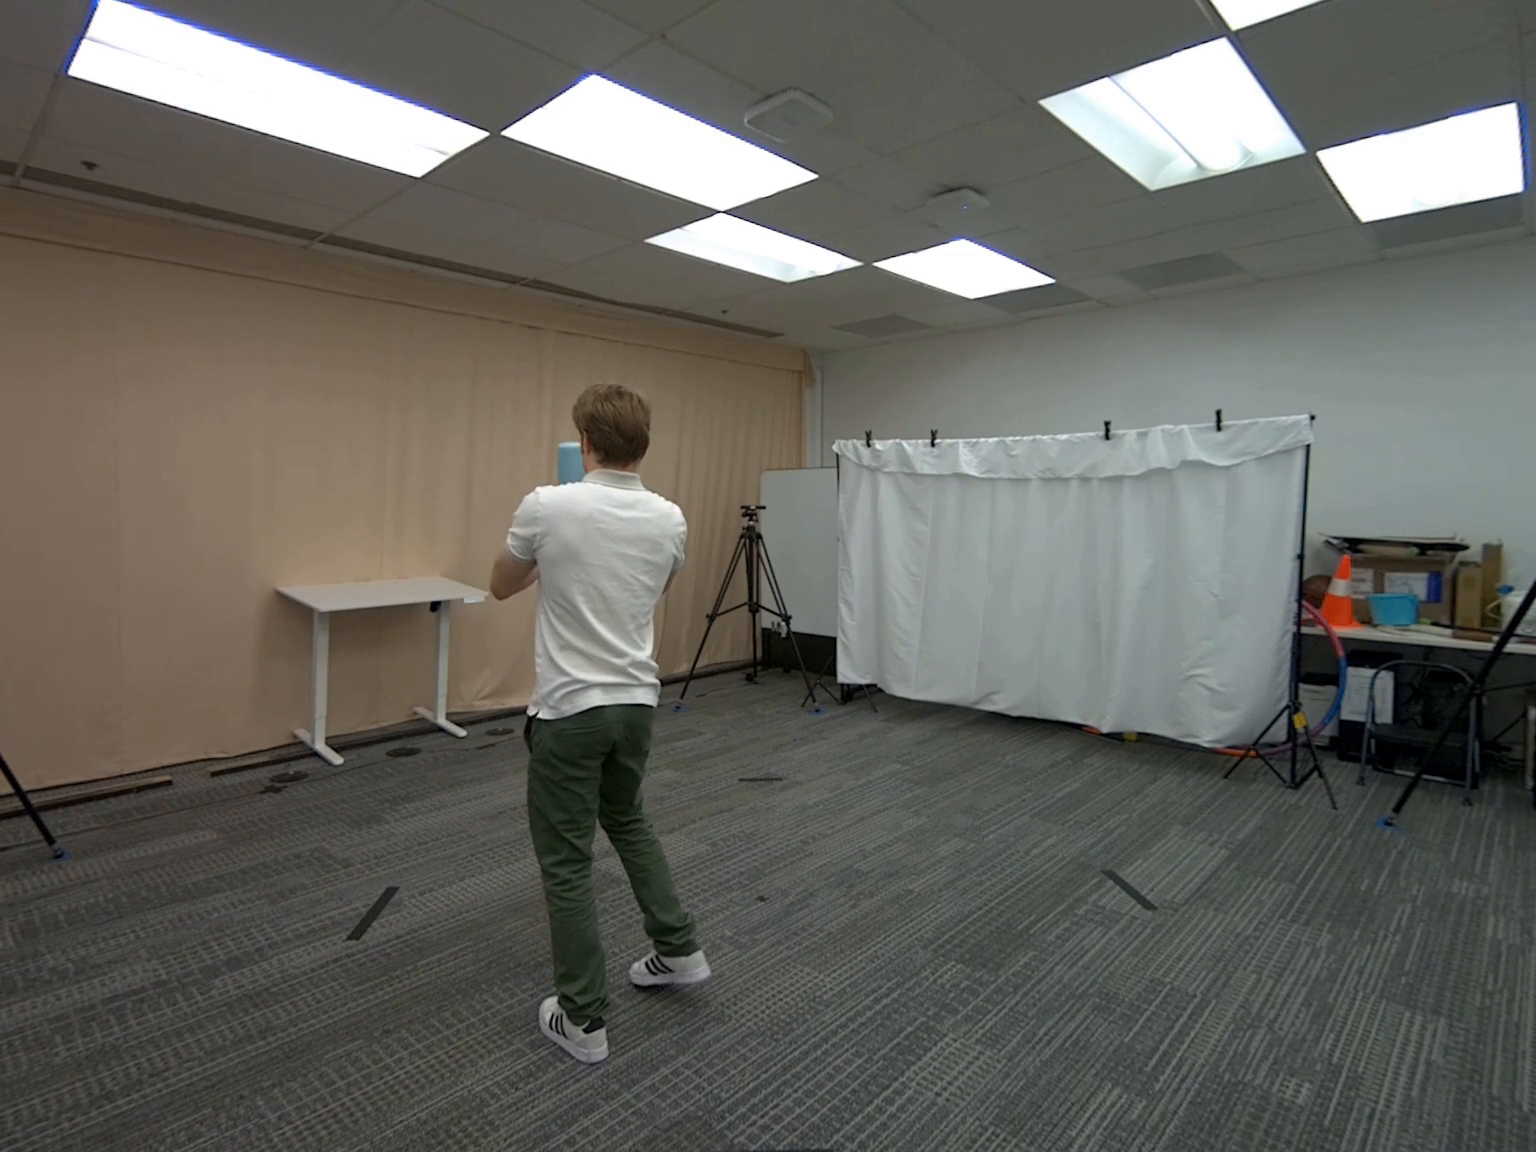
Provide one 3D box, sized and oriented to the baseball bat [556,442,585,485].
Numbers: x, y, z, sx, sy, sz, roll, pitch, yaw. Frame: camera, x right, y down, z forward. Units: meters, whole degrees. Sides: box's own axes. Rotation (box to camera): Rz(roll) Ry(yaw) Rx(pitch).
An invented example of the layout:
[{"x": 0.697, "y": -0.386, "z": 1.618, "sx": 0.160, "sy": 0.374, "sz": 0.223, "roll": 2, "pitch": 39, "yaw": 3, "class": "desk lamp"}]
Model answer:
[{"x": -0.607, "y": -0.140, "z": 2.608, "sx": 0.089, "sy": 0.538, "sz": 0.090, "roll": 1, "pitch": 14, "yaw": -2, "class": "baseball bat"}]
